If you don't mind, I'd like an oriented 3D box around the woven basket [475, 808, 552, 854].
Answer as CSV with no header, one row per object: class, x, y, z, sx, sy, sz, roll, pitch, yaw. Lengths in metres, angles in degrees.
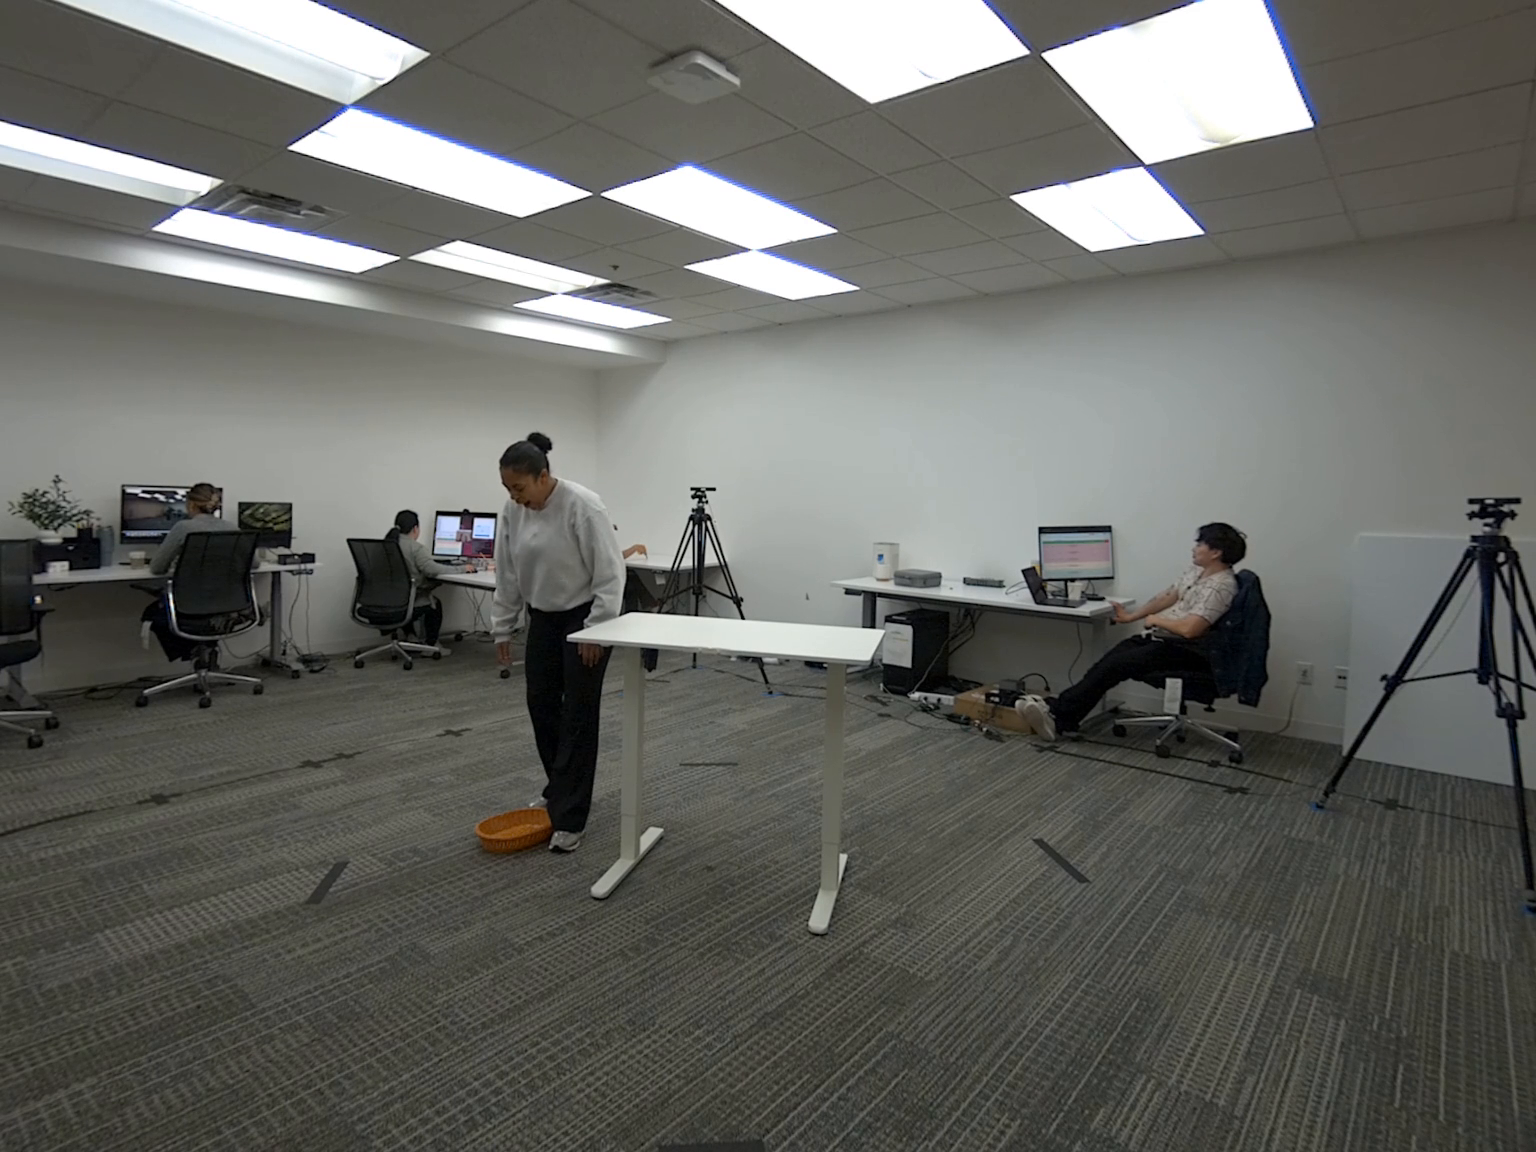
woven basket,-0.994,0.992,3.332,0.340,0.073,0.261,-5,7,-44
